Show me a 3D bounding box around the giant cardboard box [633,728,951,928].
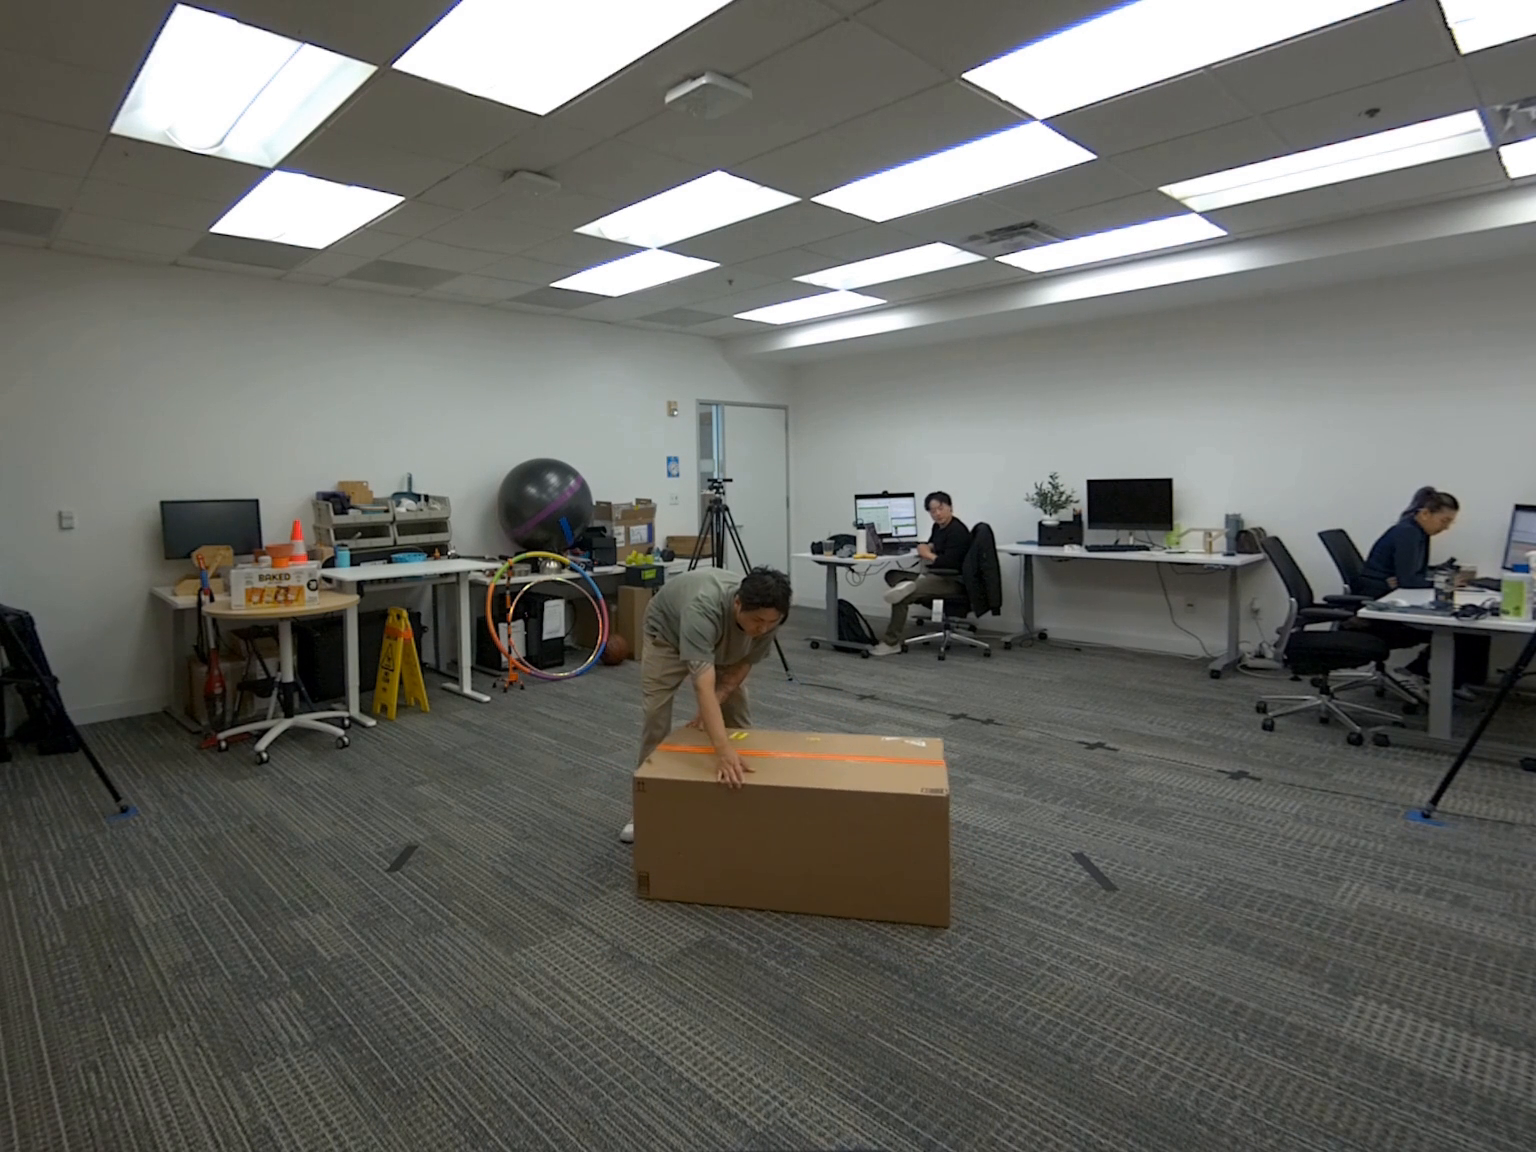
[{"bbox_3d":[0.105,0.834,3.003,1.038,0.424,0.573,0,6,12],"label":"giant cardboard box"}]
